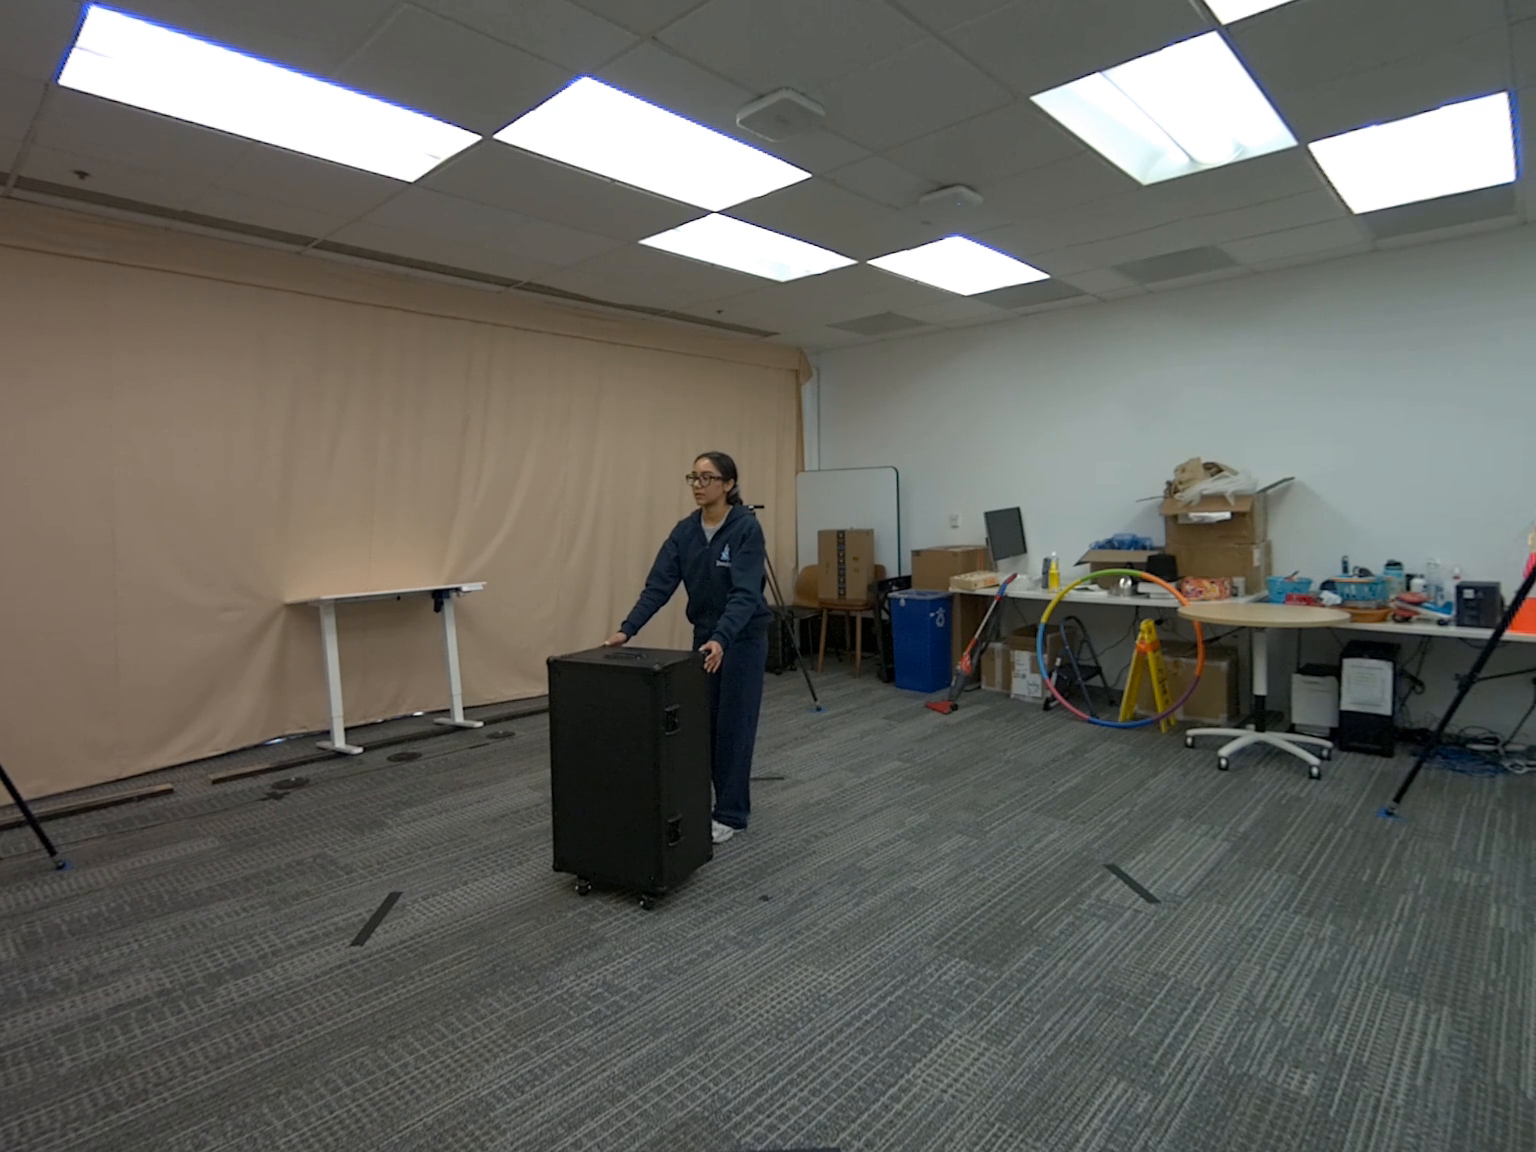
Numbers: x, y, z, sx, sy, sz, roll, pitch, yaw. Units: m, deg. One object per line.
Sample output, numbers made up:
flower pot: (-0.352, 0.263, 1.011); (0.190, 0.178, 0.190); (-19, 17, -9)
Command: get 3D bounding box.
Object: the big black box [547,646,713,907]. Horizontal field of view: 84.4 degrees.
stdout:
big black box: (-0.507, 0.719, 3.125); (0.535, 0.861, 0.386); (0, 1, 27)
